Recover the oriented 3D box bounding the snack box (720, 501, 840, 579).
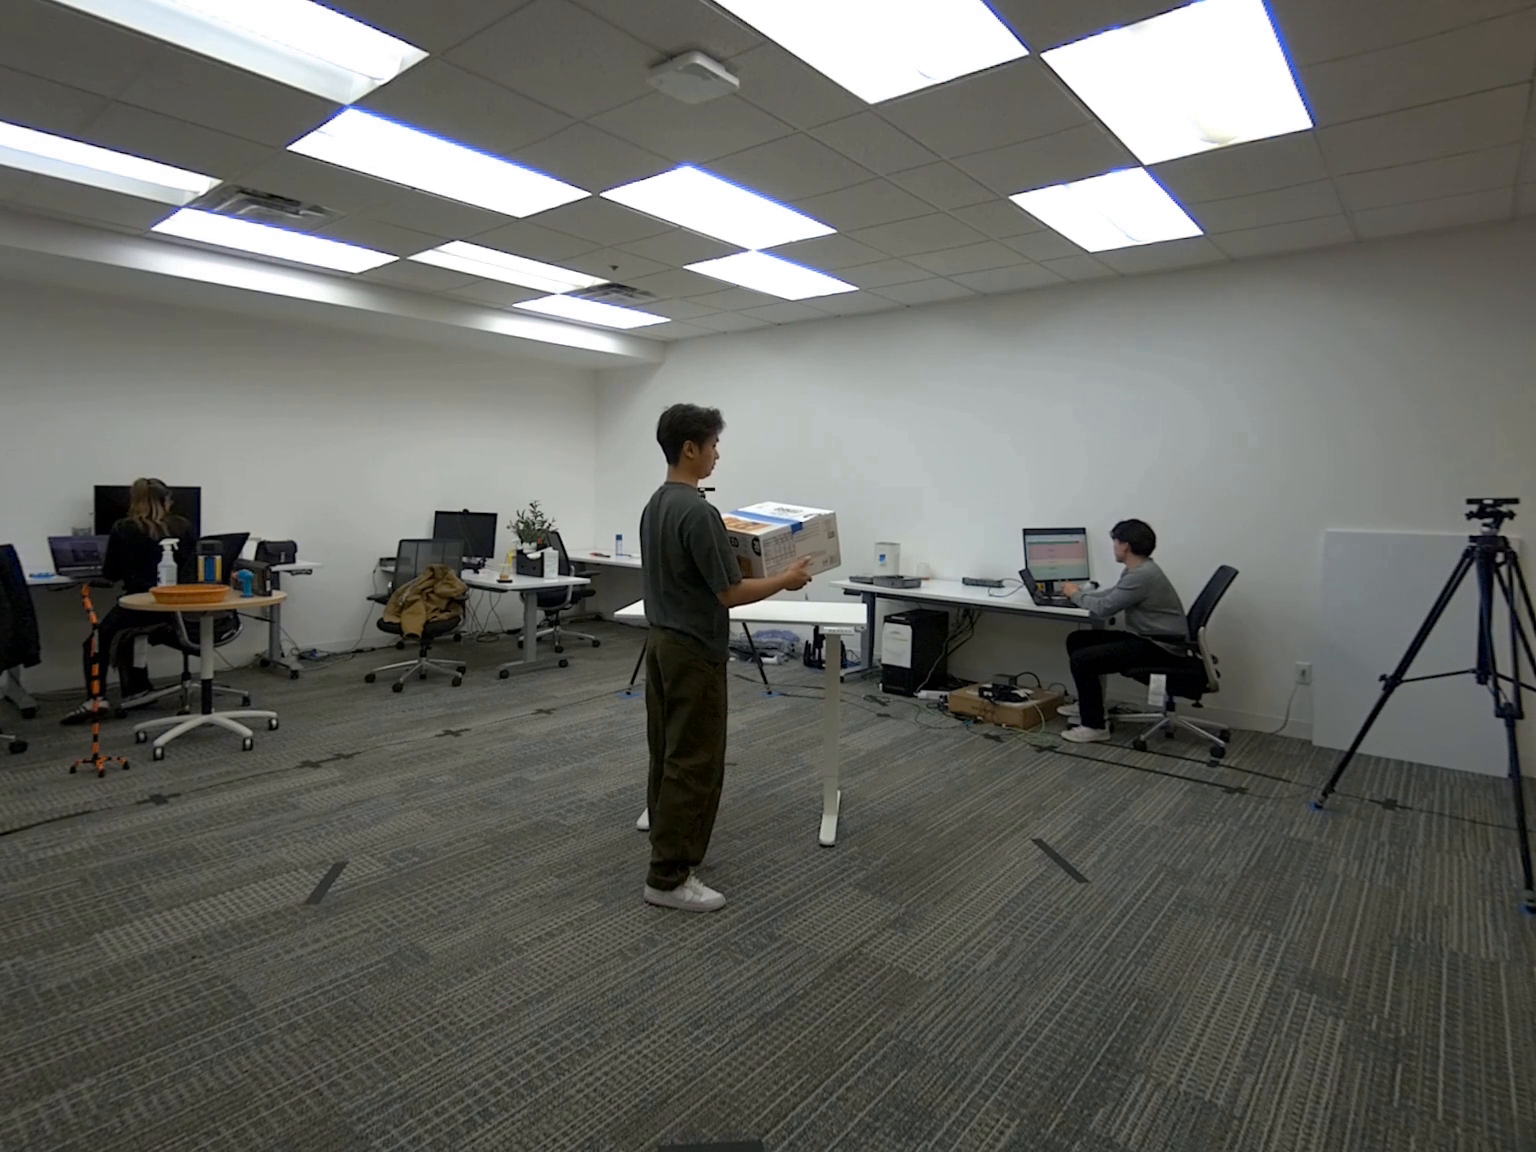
[{"bbox_3d":[-0.011,-0.117,3.097,0.334,0.202,0.420,-19,19,-31],"label":"snack box"}]
